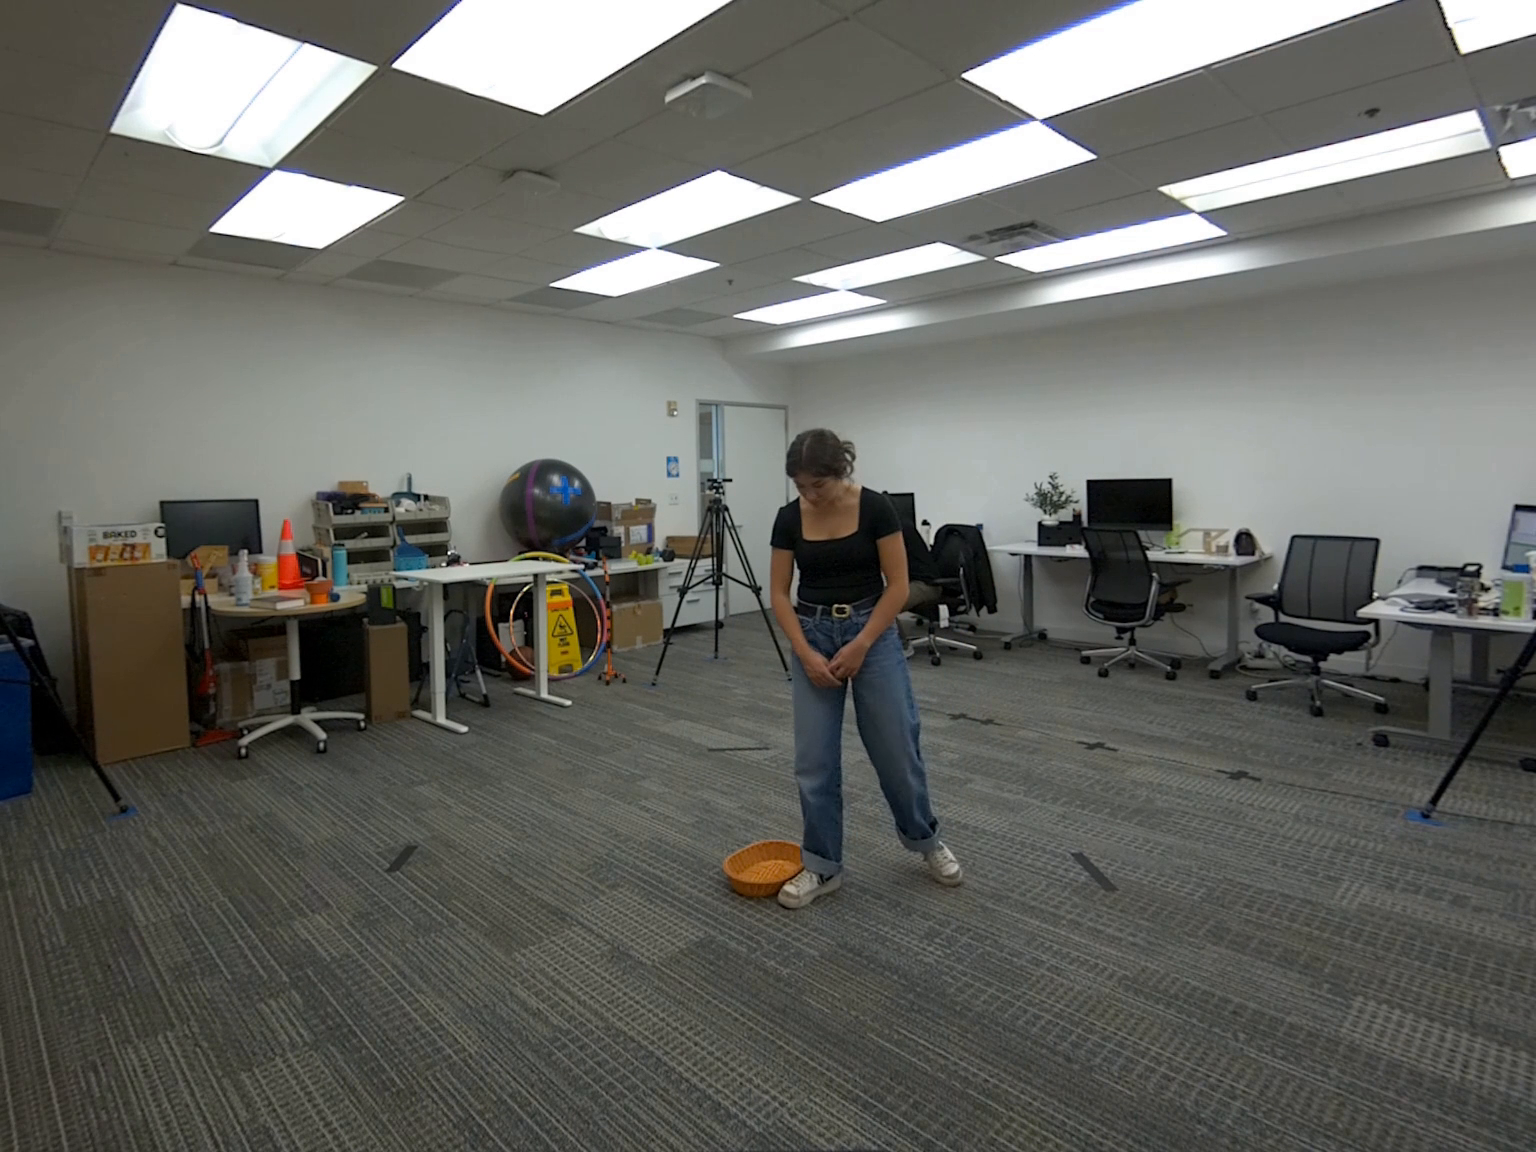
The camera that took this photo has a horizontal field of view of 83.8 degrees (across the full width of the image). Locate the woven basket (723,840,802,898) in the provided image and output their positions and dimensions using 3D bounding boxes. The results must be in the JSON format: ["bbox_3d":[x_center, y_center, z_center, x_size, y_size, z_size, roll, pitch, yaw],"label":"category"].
[{"bbox_3d":[0.001,1.017,2.976,0.260,0.073,0.341,7,9,42],"label":"woven basket"}]
